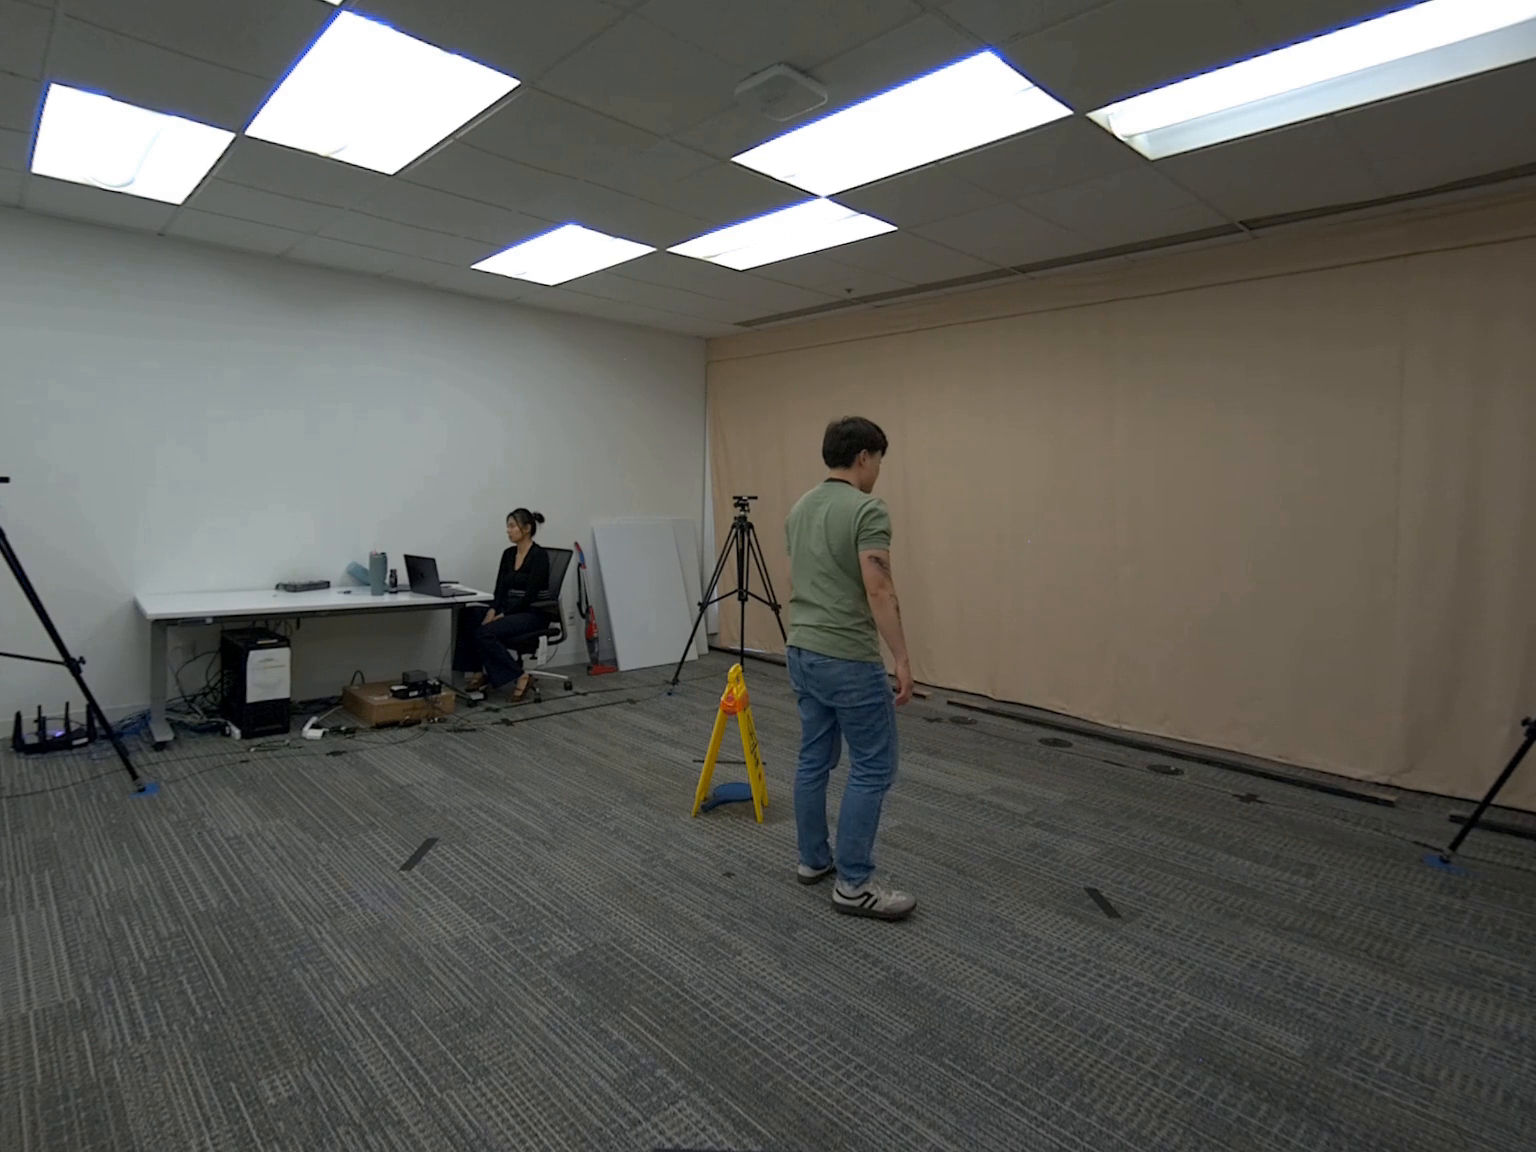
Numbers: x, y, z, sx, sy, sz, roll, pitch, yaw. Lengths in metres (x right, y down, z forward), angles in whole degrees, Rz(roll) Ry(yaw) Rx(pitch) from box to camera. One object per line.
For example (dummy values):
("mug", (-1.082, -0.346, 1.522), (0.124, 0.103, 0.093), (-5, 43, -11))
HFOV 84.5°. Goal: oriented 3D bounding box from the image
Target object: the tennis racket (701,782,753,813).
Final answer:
("tennis racket", (-0.121, 1.014, 4.037), (0.219, 0.031, 0.423), (7, 6, 37))
